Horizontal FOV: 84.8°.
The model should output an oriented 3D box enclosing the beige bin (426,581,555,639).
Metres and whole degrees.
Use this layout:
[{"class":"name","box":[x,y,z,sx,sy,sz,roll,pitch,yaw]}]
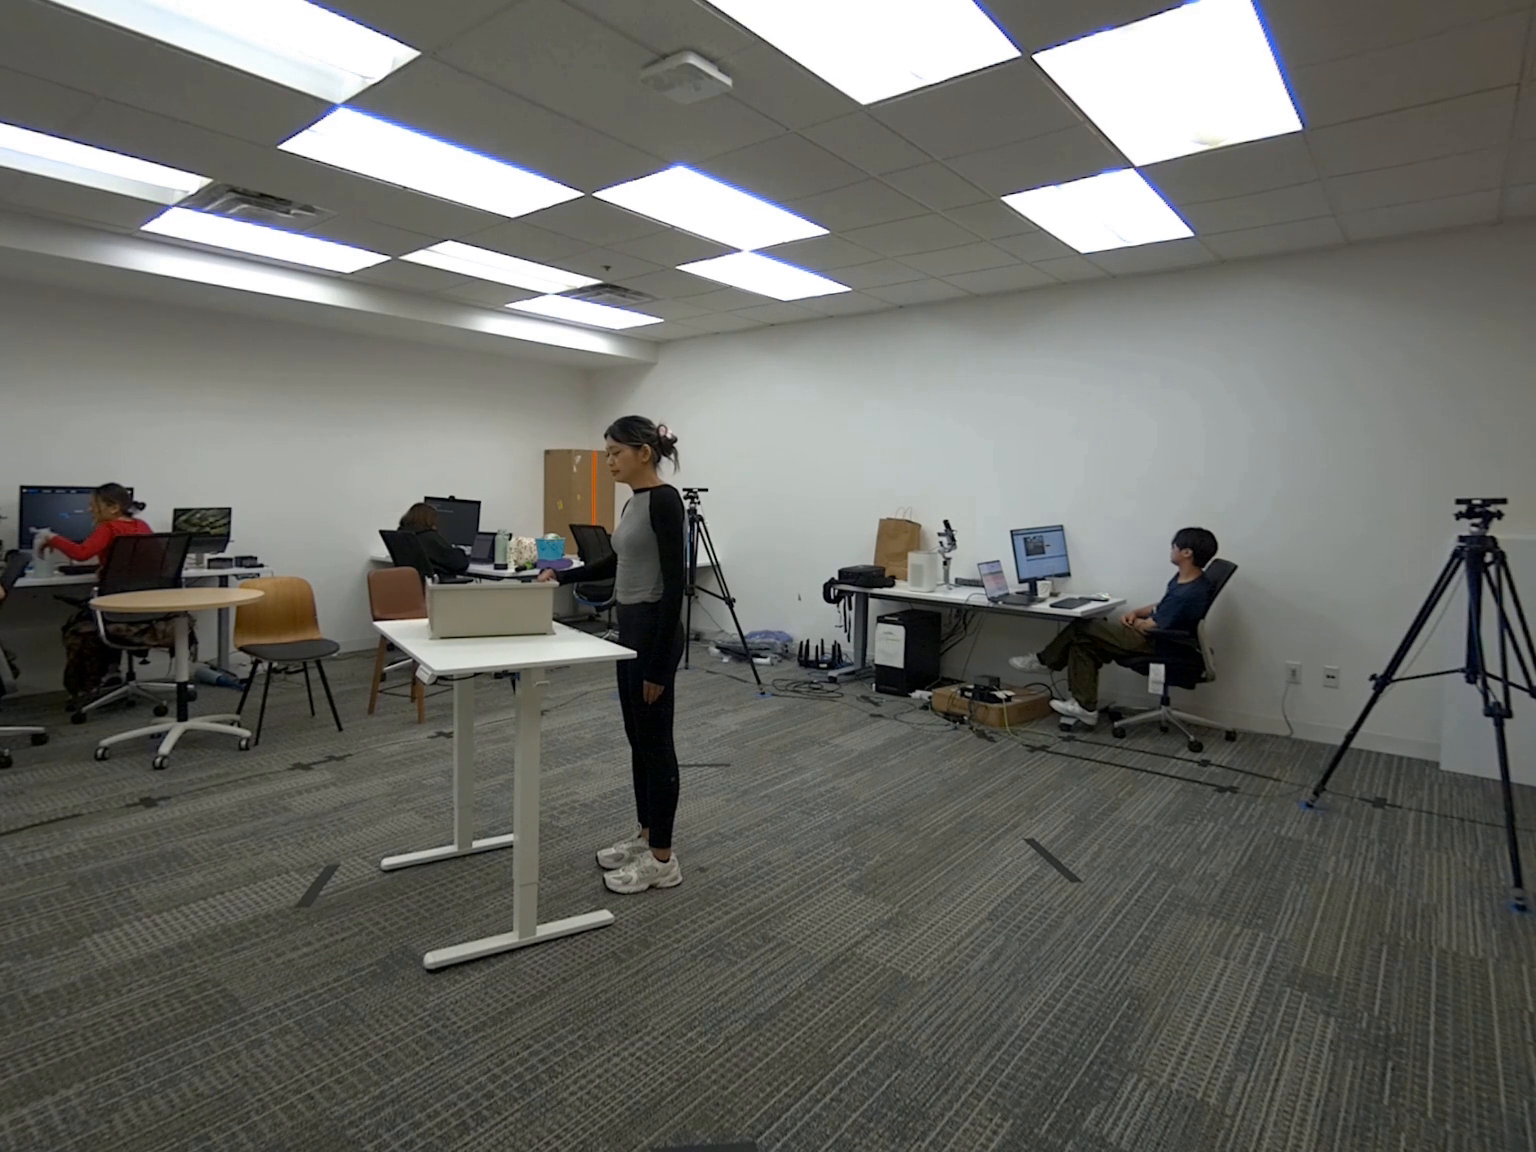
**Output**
[{"class":"beige bin","box":[-0.991,0.098,2.999,0.414,0.188,0.387,-1,8,-20]}]
